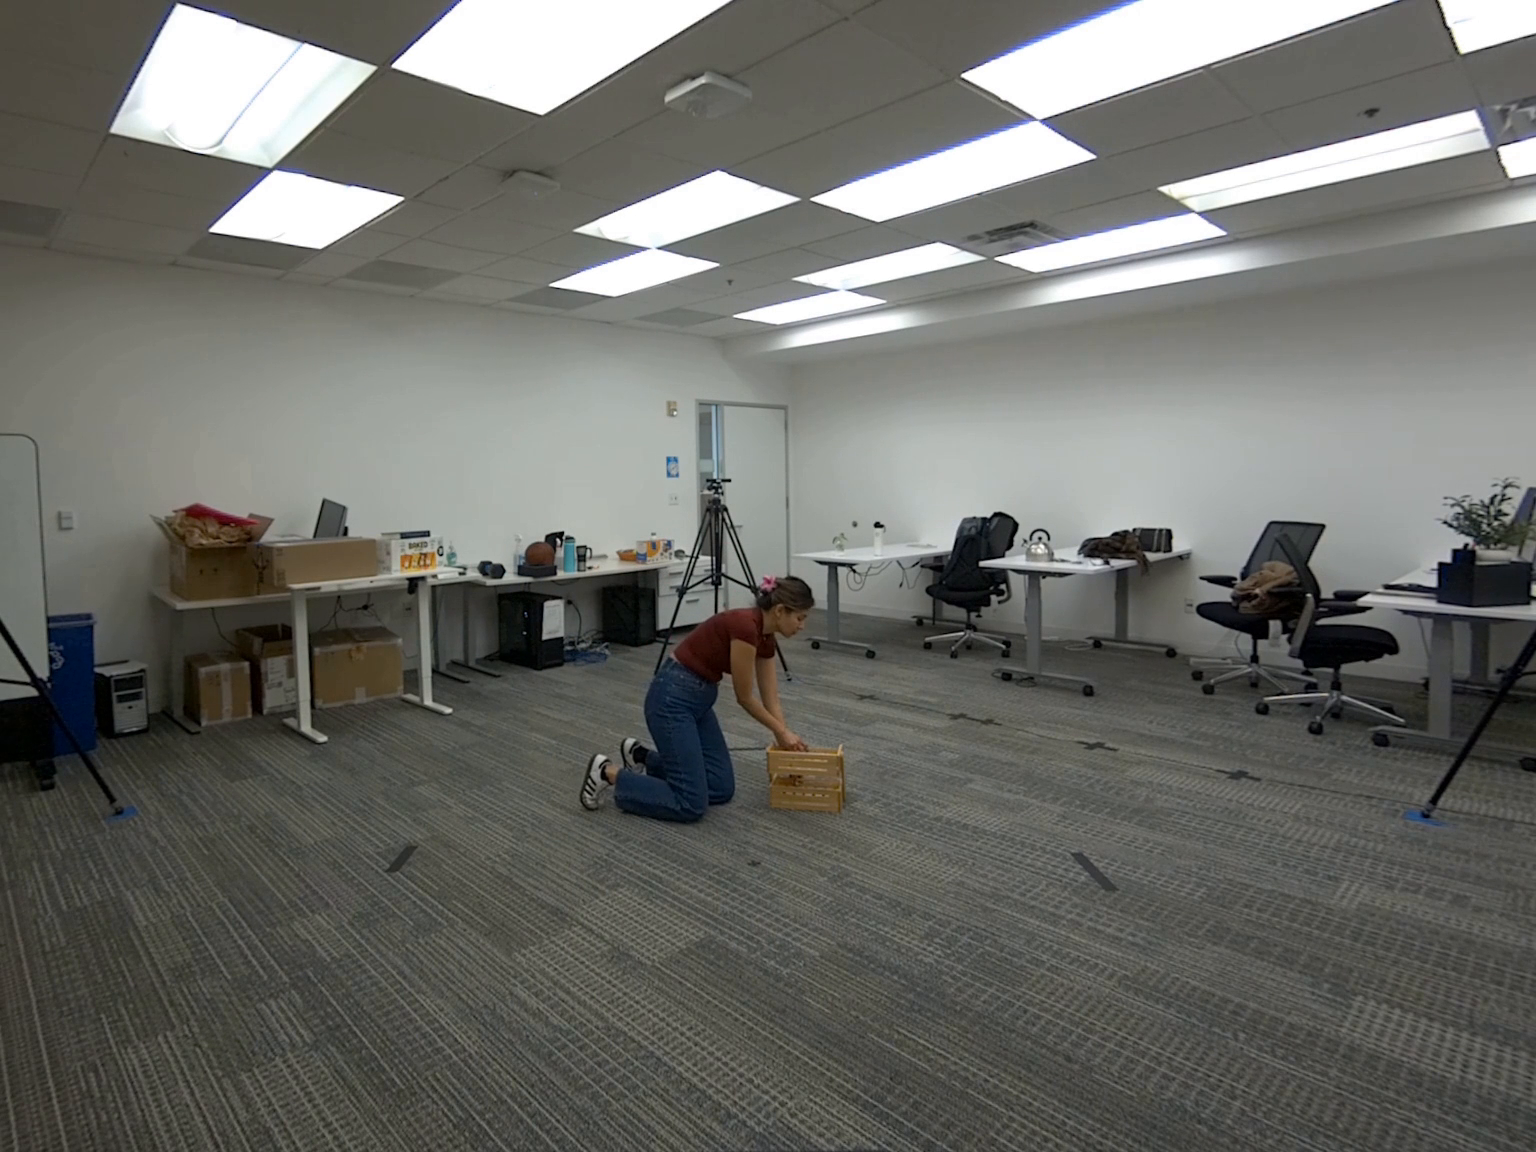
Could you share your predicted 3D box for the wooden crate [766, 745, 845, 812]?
[{"bbox_3d":[0.165,0.841,3.692,0.328,0.272,0.300,0,5,11],"label":"wooden crate"}]
